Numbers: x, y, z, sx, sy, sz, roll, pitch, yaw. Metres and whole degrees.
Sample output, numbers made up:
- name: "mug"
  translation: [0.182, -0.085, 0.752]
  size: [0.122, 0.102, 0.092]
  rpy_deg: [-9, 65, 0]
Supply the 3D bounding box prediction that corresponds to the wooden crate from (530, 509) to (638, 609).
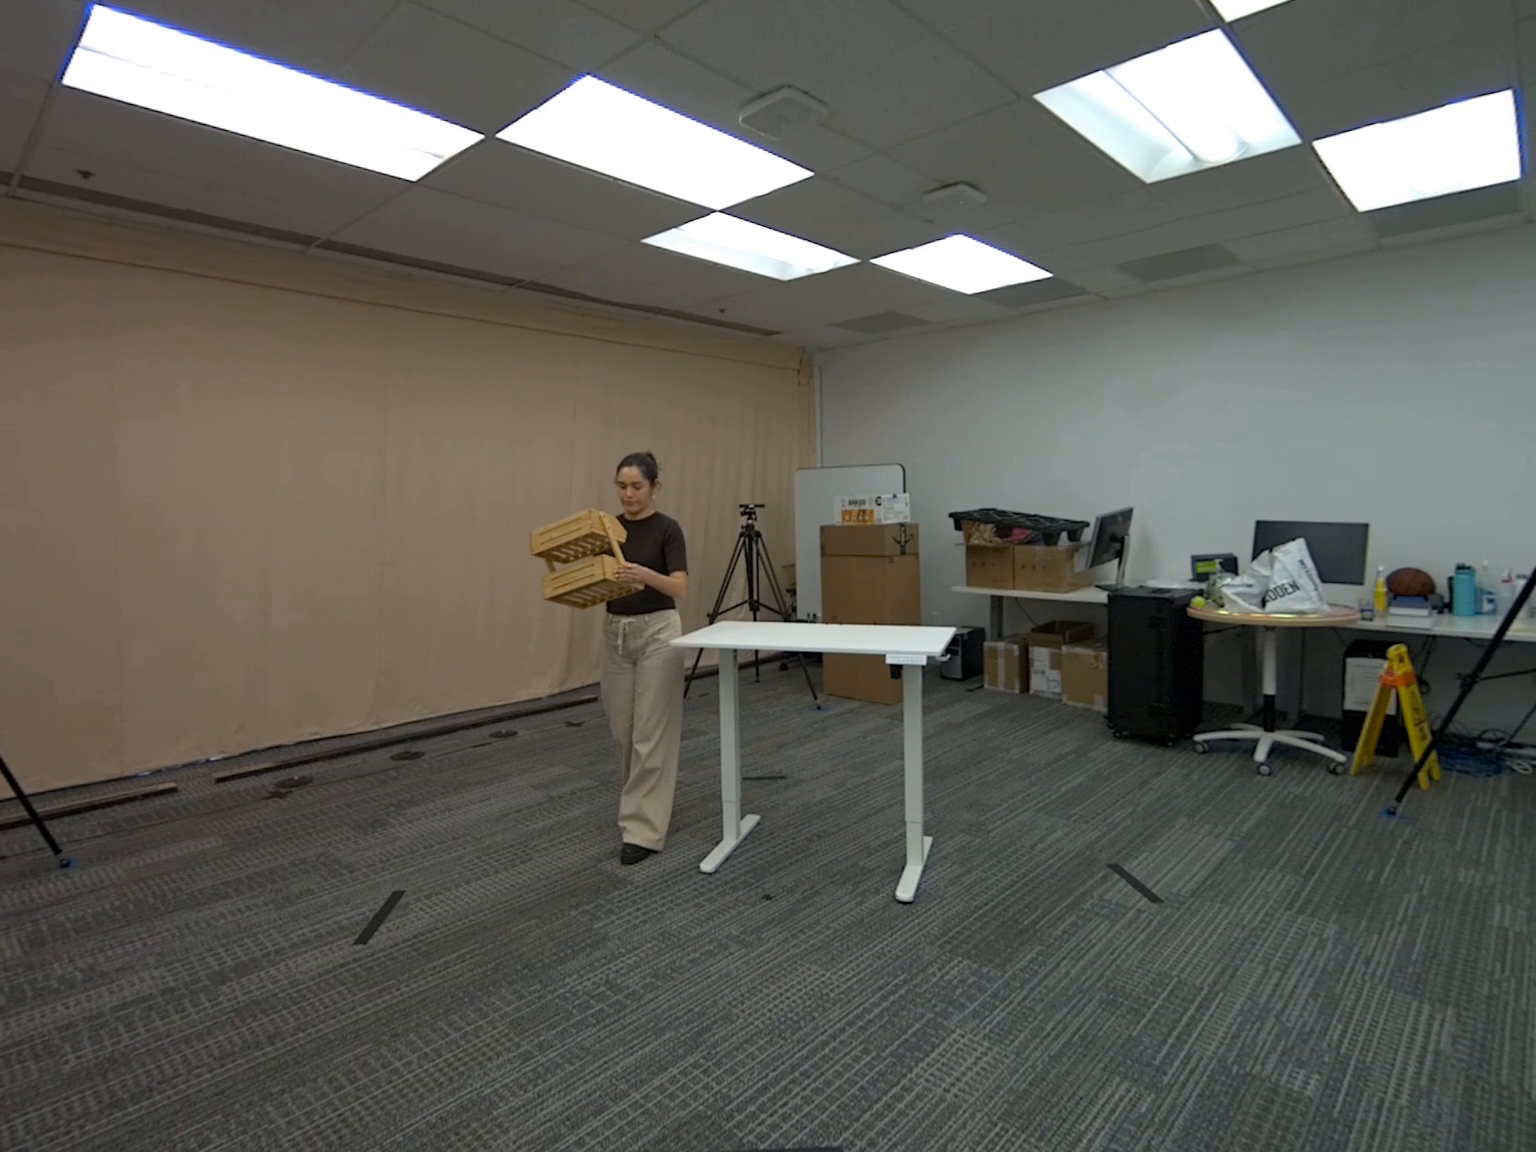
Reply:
- name: "wooden crate"
  translation: [-0.687, -0.061, 3.206]
  size: [0.331, 0.277, 0.292]
  rpy_deg: [-17, -20, 26]
